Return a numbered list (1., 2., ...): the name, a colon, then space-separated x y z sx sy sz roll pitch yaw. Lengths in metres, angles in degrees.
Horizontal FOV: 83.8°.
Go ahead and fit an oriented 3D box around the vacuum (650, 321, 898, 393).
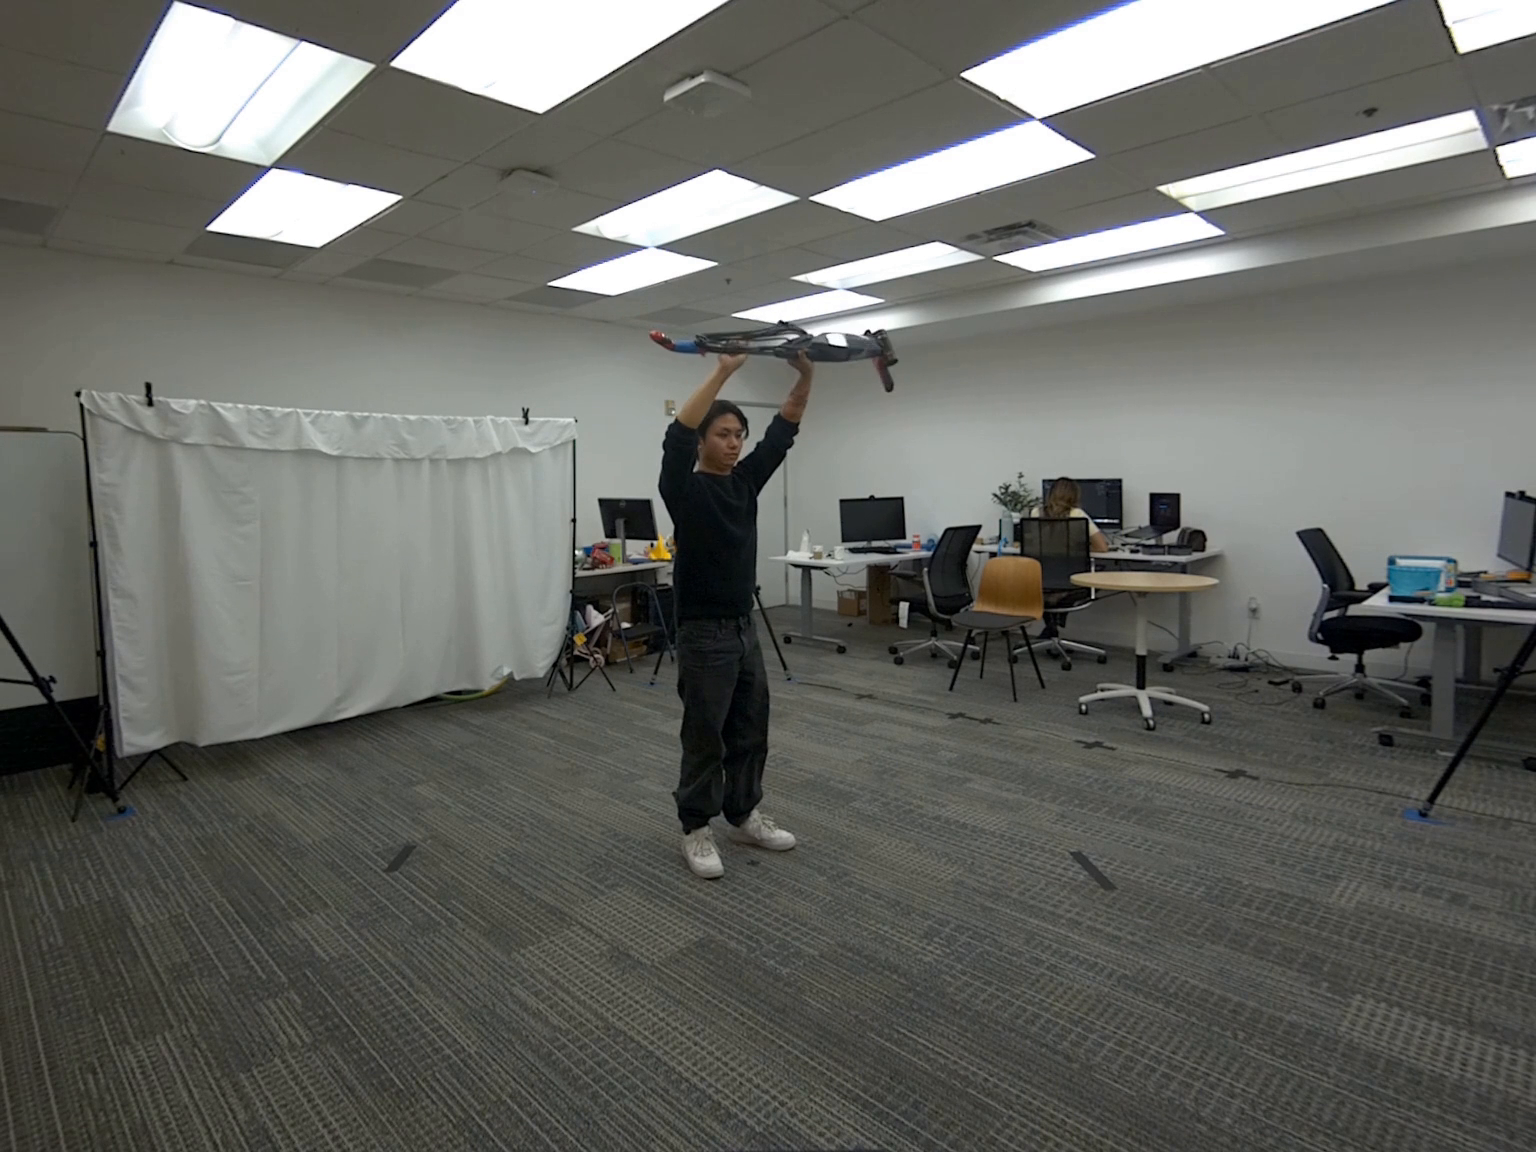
1. vacuum: 0.059 -0.762 2.837 1.023 0.257 0.145 -8 -20 -41
